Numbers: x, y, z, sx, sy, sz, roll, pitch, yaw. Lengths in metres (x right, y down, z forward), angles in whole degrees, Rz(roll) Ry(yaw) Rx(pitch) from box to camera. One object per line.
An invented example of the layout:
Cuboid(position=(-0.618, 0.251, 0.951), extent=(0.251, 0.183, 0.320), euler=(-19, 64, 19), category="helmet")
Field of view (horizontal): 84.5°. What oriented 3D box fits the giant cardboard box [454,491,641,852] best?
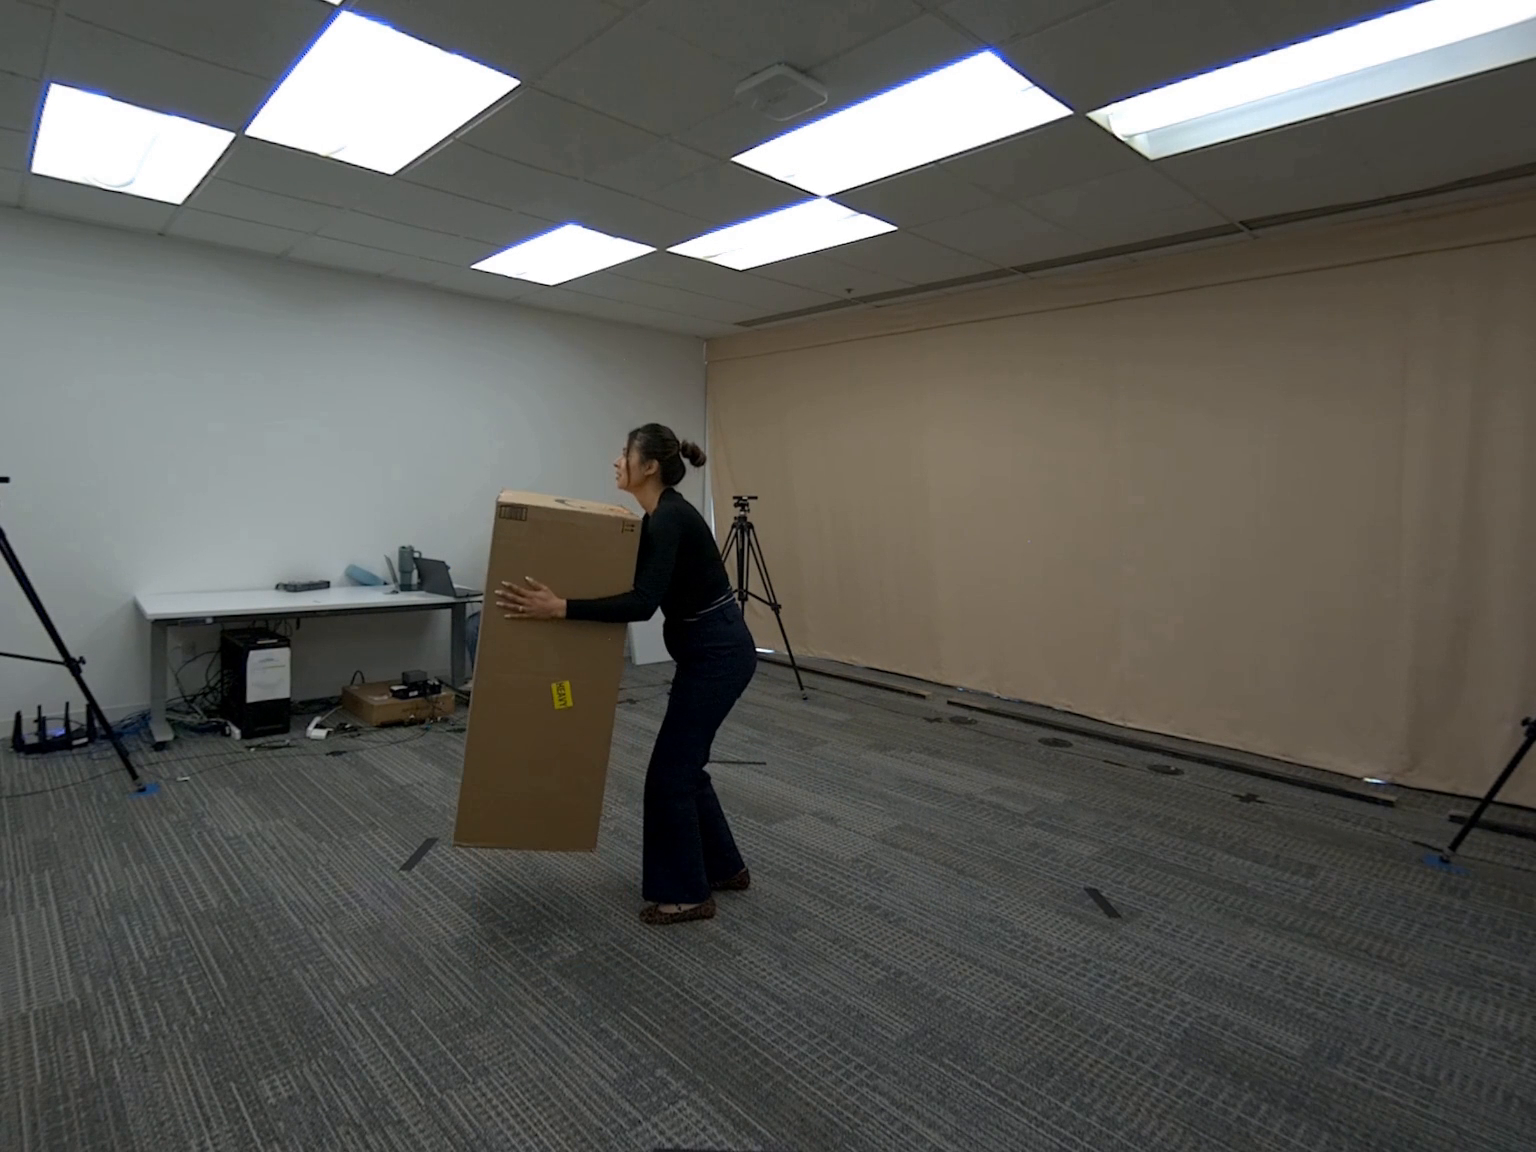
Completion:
Cuboid(position=(-0.725, 0.278, 2.734), extent=(0.421, 1.023, 0.587), euler=(7, 5, -16), category="giant cardboard box")
